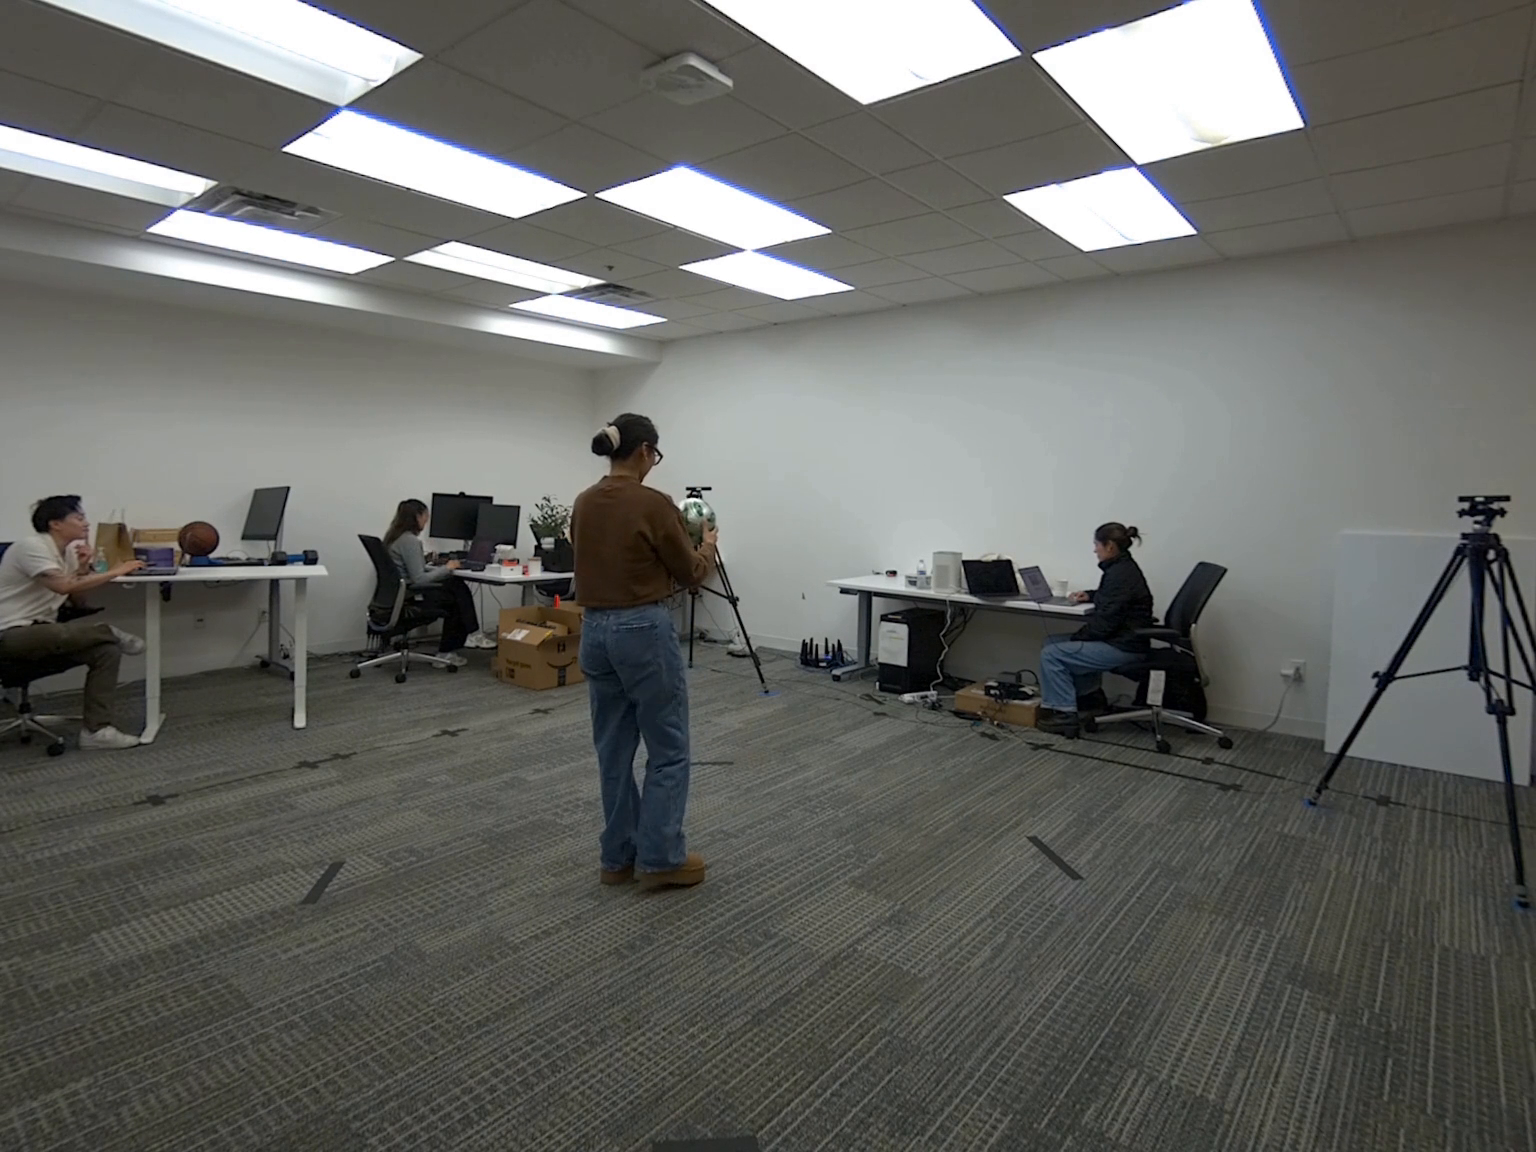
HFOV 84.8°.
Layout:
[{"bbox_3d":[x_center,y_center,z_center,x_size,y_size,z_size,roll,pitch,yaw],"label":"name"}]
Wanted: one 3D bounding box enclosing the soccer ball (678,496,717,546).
[{"bbox_3d":[-0.304,-0.211,3.343,0.187,0.187,0.188,1,4,-2],"label":"soccer ball"}]
